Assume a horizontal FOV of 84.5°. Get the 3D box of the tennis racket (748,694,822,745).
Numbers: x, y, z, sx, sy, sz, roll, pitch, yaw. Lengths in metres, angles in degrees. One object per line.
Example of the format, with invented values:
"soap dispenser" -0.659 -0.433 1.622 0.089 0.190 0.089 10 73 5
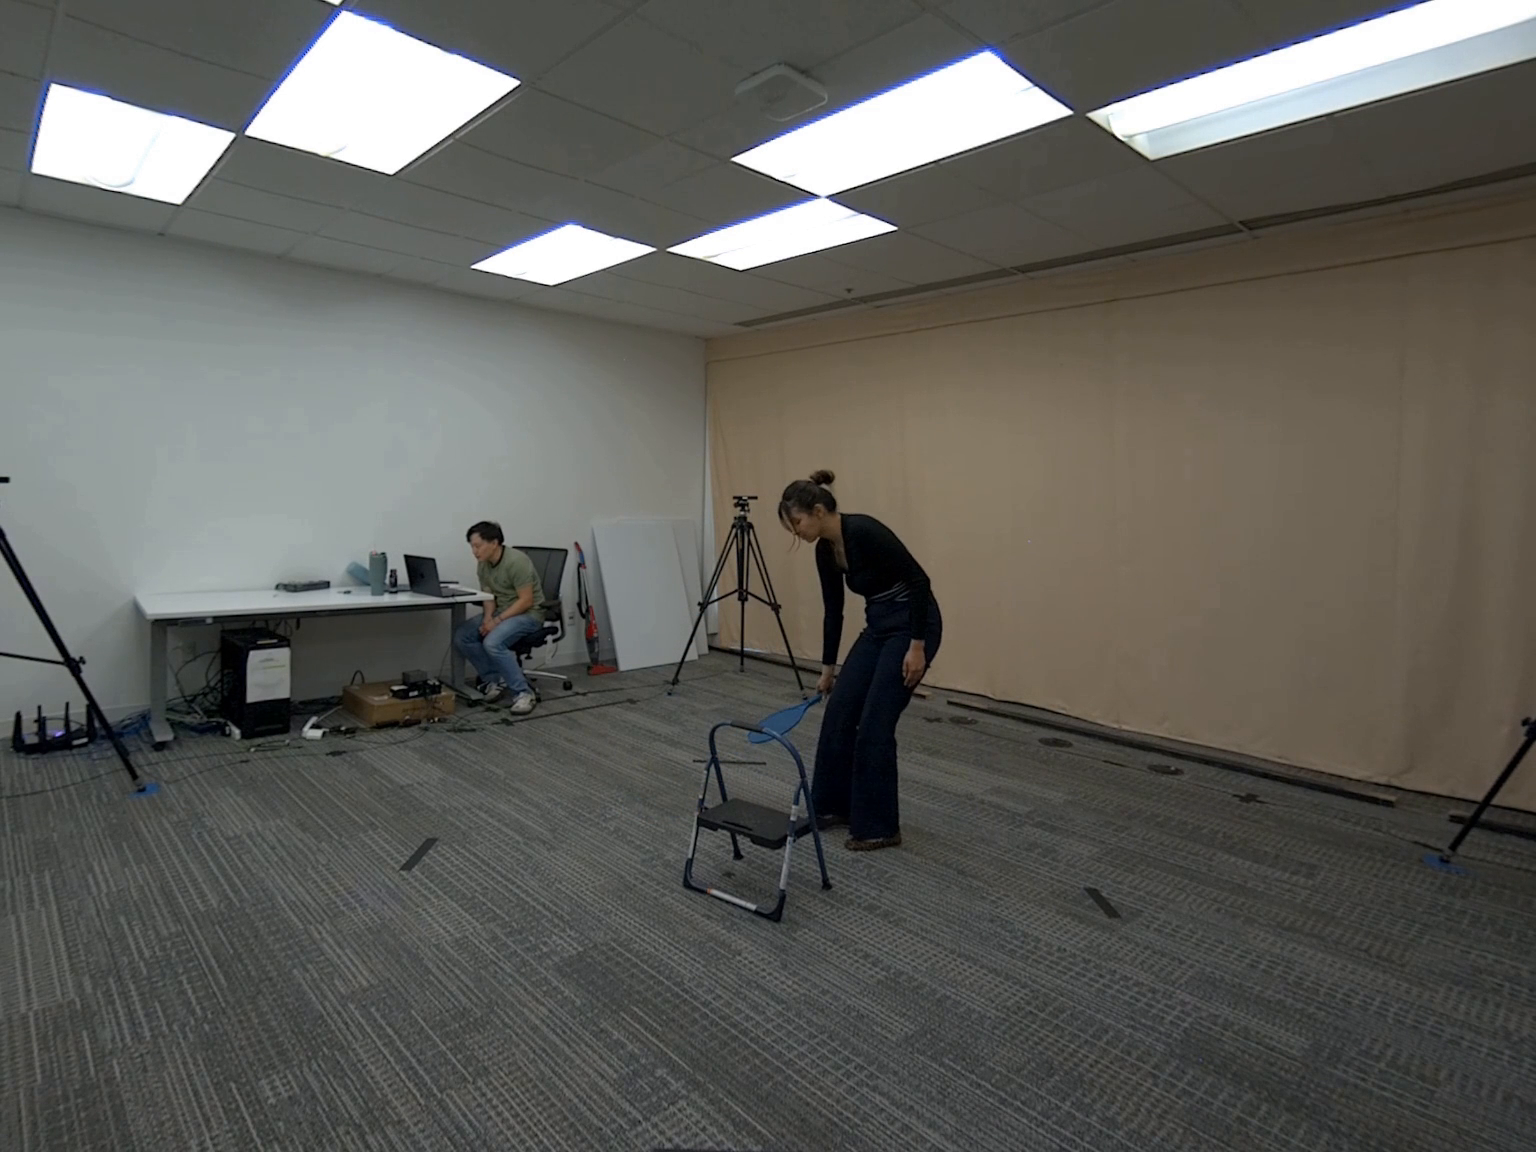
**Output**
"tennis racket" 0.087 0.603 3.607 0.430 0.031 0.218 -28 14 -21
